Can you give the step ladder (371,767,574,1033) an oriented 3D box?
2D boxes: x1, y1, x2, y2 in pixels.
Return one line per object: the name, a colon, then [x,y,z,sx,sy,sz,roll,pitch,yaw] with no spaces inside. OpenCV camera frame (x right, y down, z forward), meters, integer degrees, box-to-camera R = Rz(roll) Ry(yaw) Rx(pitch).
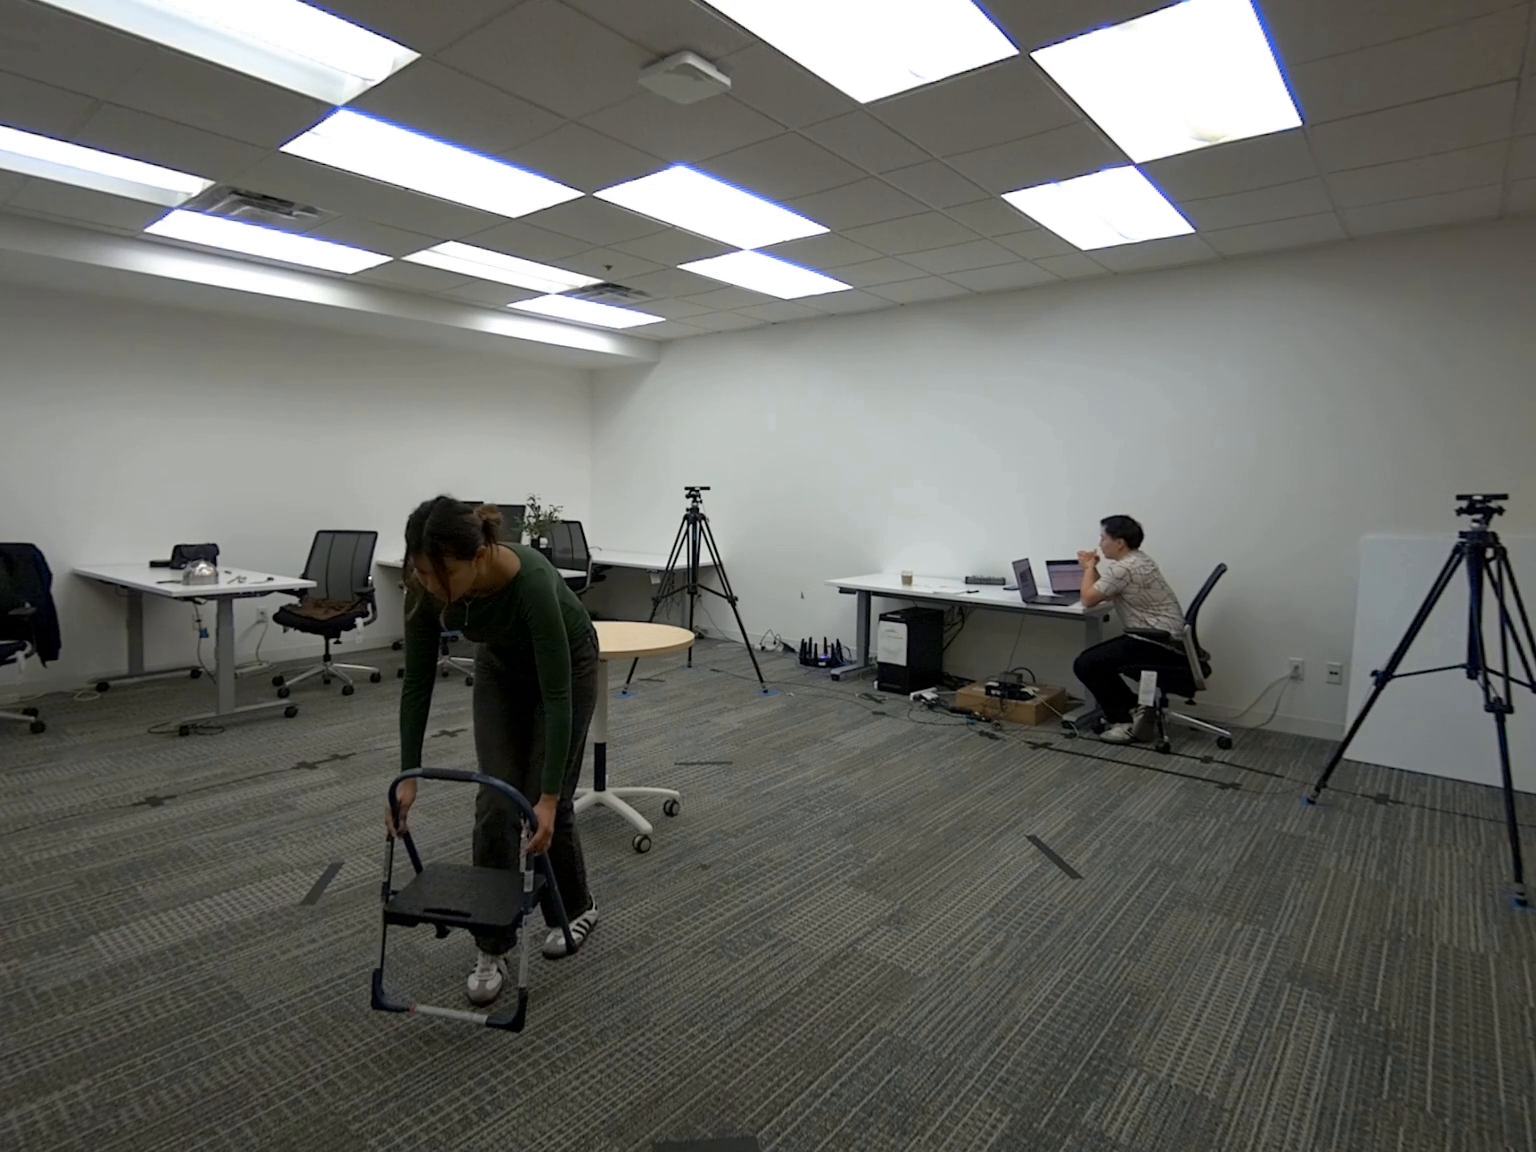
step ladder: [-0.781,0.759,2.197,0.436,0.601,0.348,1,9,11]
